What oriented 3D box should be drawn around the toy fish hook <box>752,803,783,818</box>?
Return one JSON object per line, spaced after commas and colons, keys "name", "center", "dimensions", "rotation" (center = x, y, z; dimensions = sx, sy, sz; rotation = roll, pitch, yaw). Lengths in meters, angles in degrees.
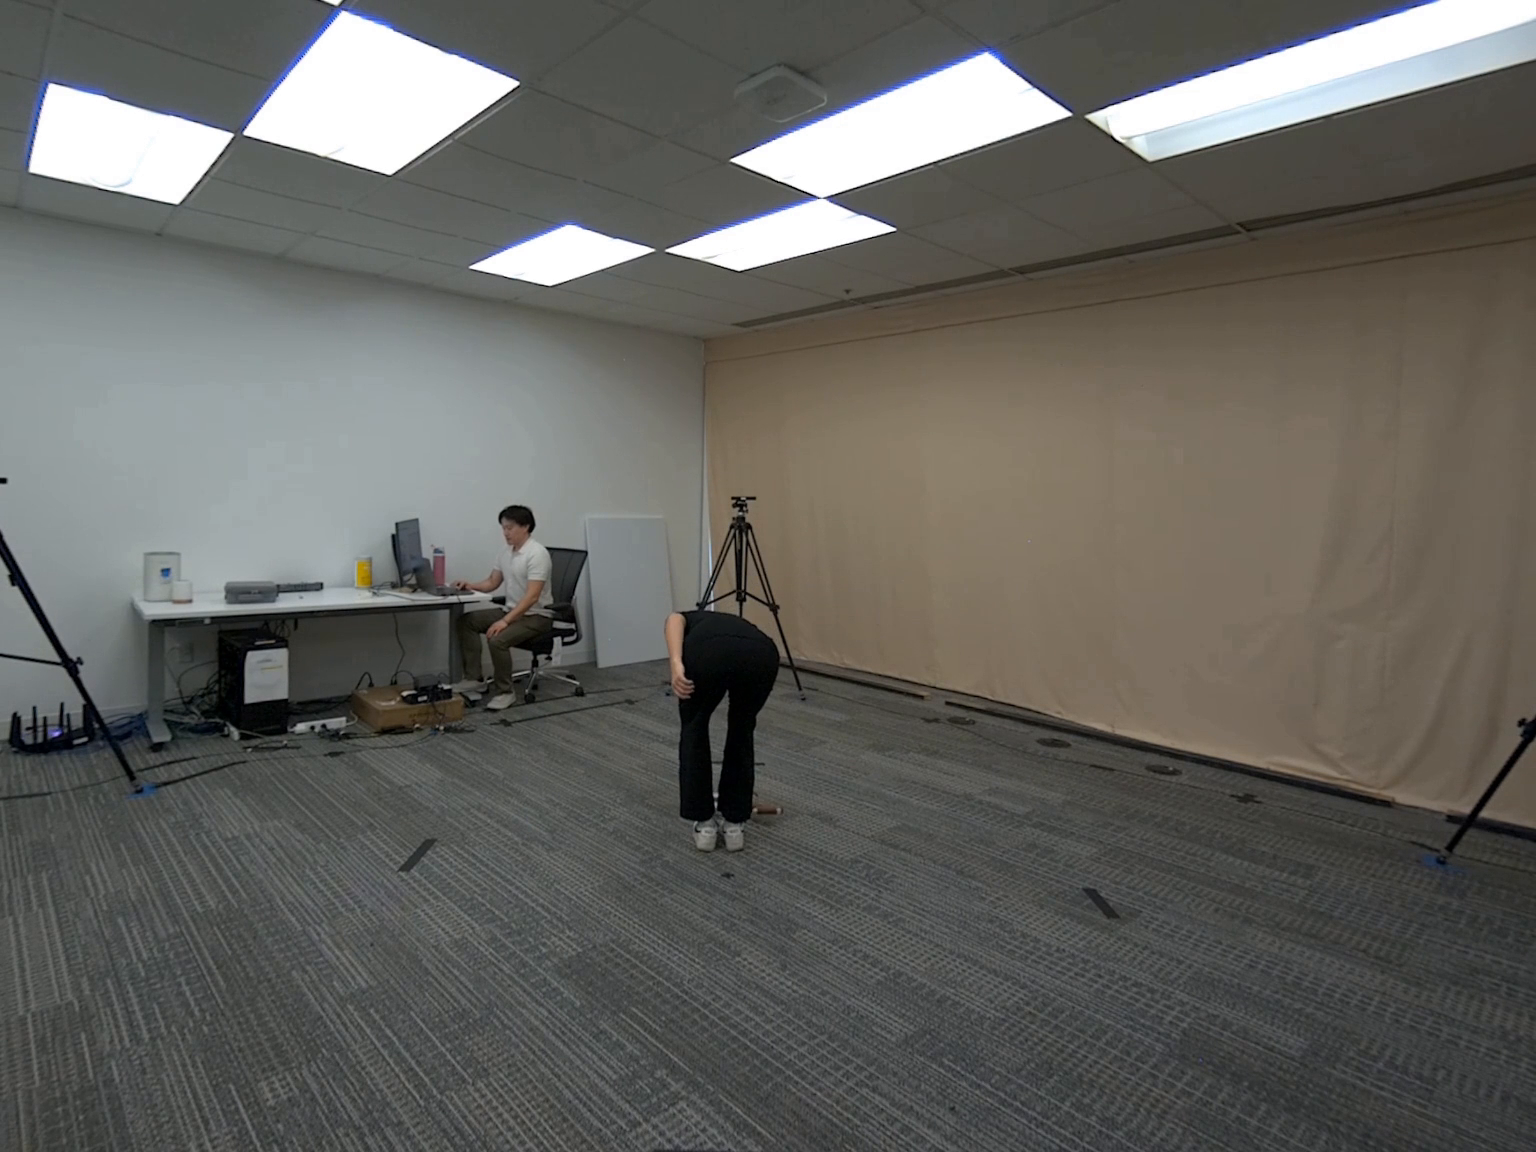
{"name": "toy fish hook", "center": [-0.155, 1.002, 3.737], "dimensions": [0.516, 0.048, 0.221], "rotation": [-2, 5, 26]}
